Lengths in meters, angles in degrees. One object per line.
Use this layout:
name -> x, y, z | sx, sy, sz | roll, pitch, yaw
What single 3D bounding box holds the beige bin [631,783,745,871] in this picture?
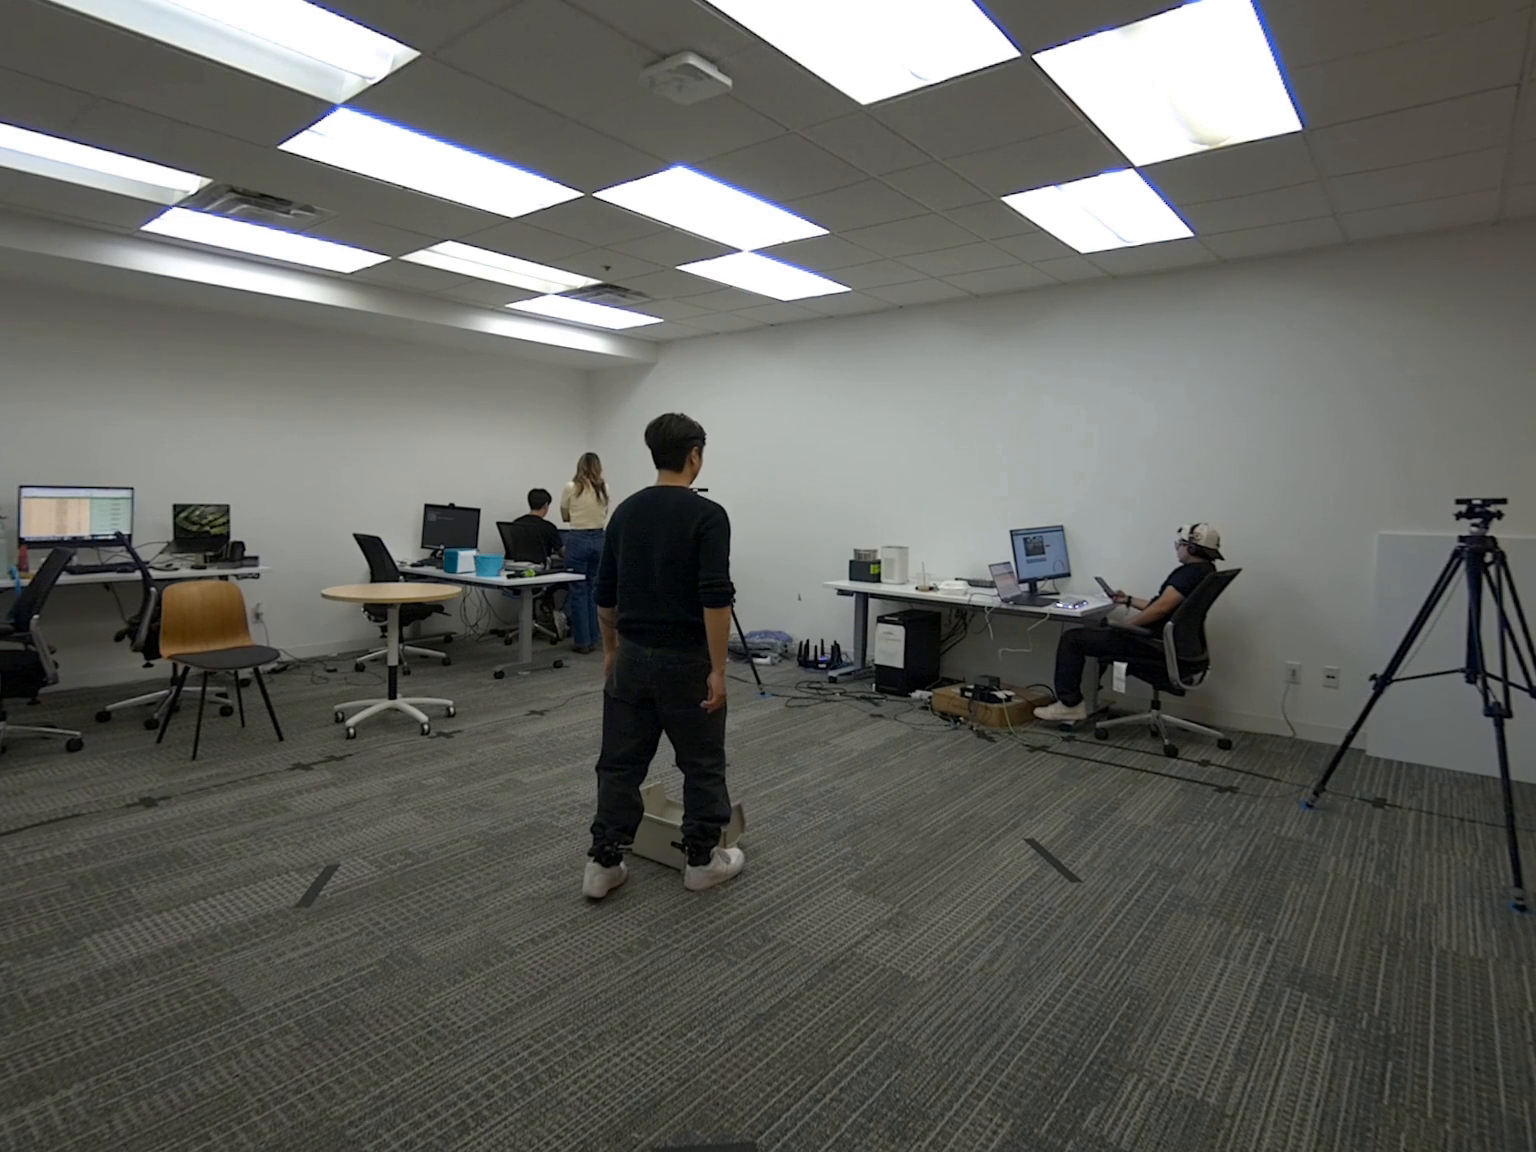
beige bin -> -0.370, 0.960, 3.320 | 0.436, 0.188, 0.367 | 5, 8, 34
